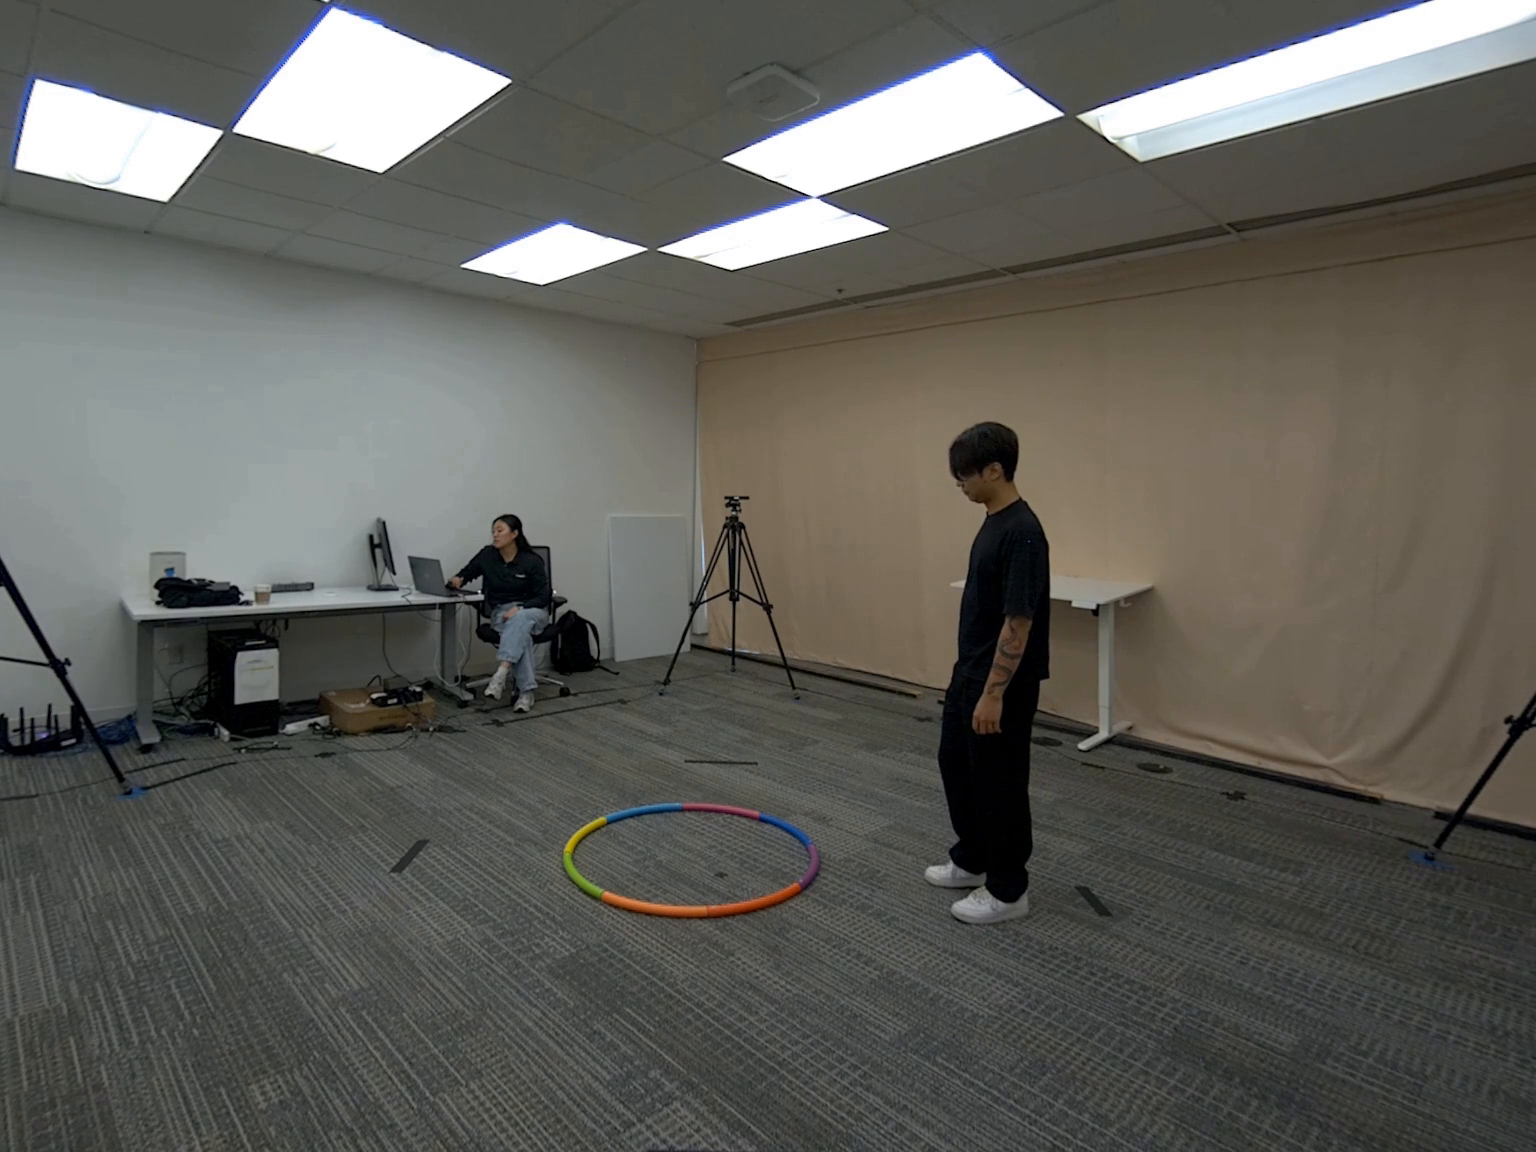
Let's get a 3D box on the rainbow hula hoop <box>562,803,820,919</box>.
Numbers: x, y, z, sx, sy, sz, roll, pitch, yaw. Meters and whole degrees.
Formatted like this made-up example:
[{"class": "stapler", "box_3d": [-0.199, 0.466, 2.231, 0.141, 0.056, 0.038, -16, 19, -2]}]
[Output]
[{"class": "rainbow hula hoop", "box_3d": [-0.301, 1.058, 3.266, 0.978, 0.035, 0.982, 2, 5, -1]}]
